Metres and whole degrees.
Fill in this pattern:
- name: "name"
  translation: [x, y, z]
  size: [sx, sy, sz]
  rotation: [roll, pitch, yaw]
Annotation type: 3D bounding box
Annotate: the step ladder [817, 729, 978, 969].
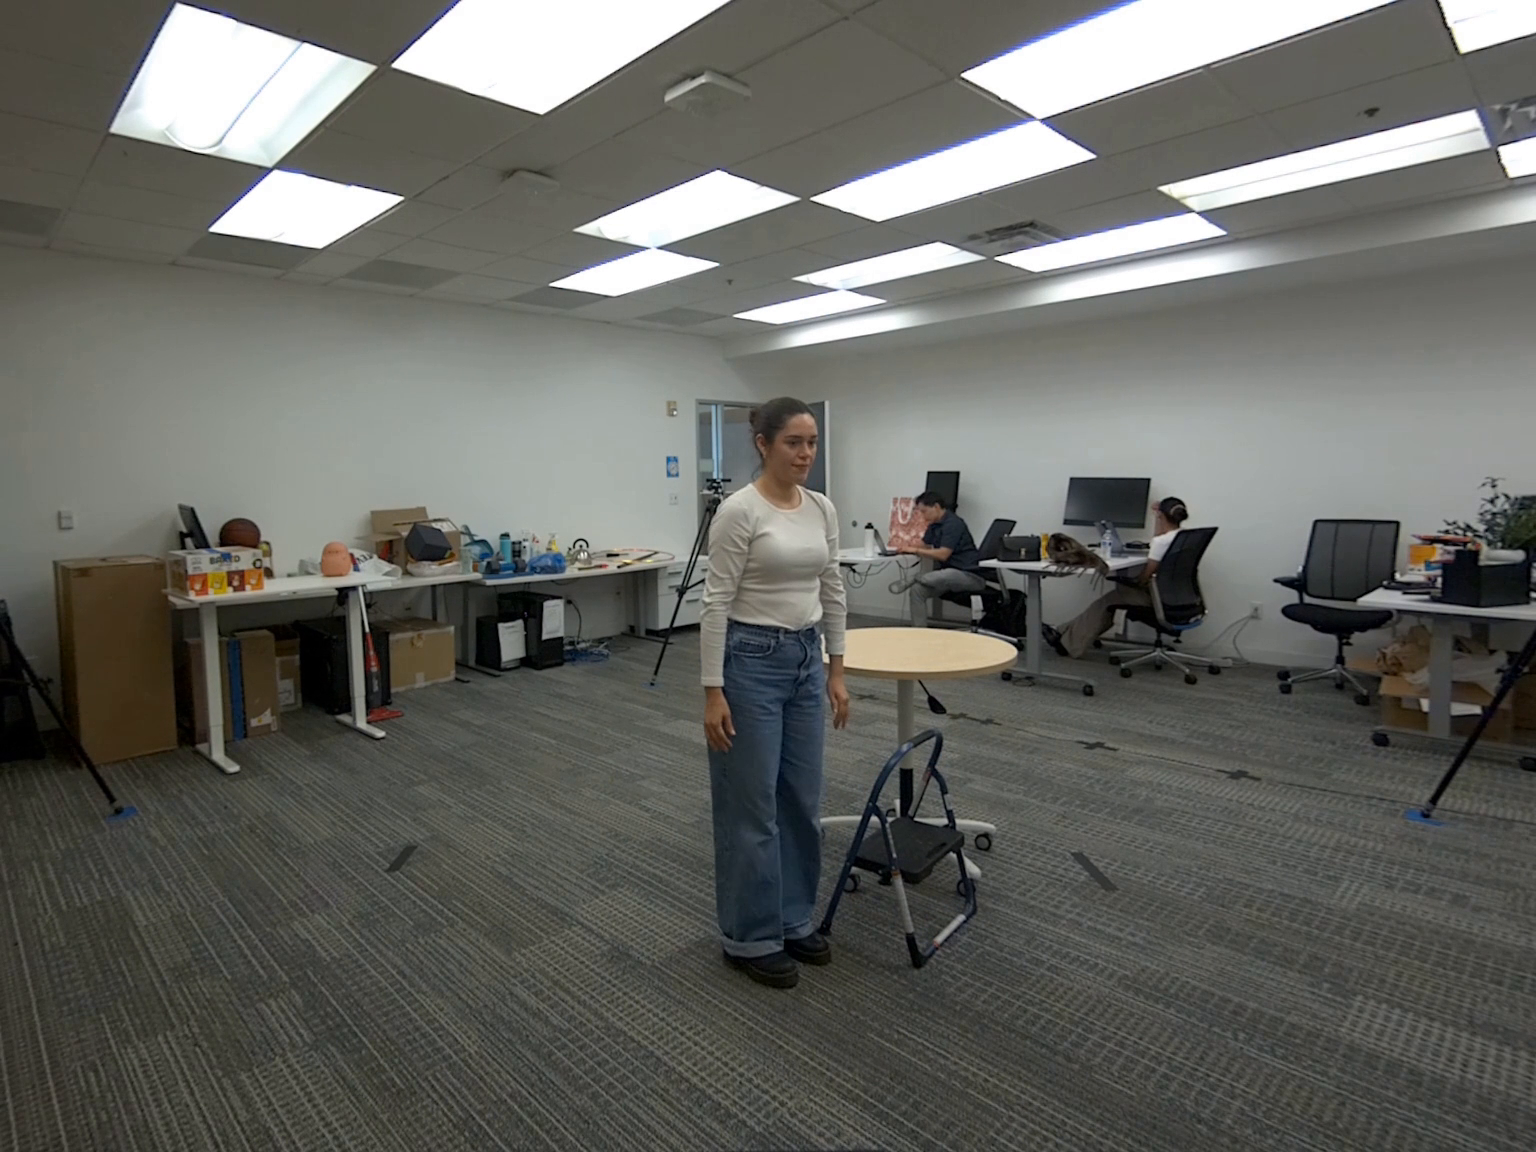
- name: "step ladder"
  translation: [0.406, 0.780, 2.663]
  size: [0.359, 0.603, 0.420]
  rotation: [2, 6, 37]
